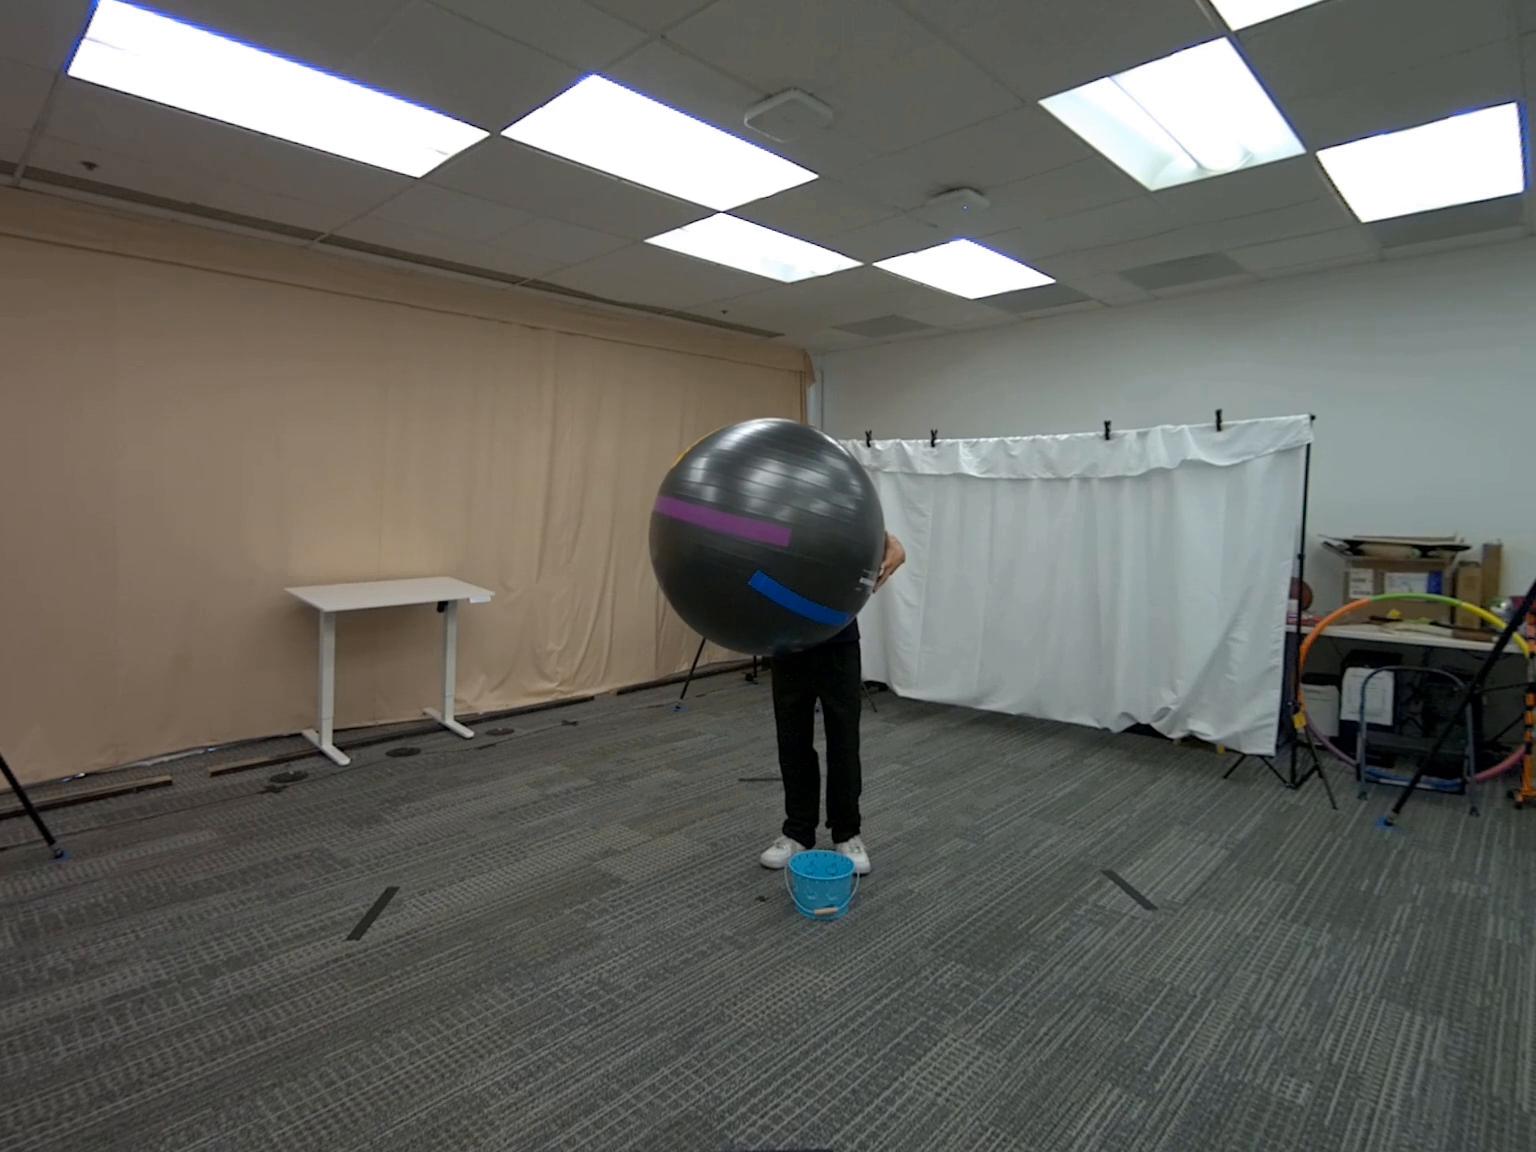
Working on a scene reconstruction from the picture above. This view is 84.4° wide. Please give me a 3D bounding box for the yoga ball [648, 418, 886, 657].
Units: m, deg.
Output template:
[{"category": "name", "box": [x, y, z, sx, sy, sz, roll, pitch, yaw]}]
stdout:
[{"category": "yoga ball", "box": [-0.008, -0.121, 2.719, 0.757, 0.756, 0.761, 0, 4, -2]}]
